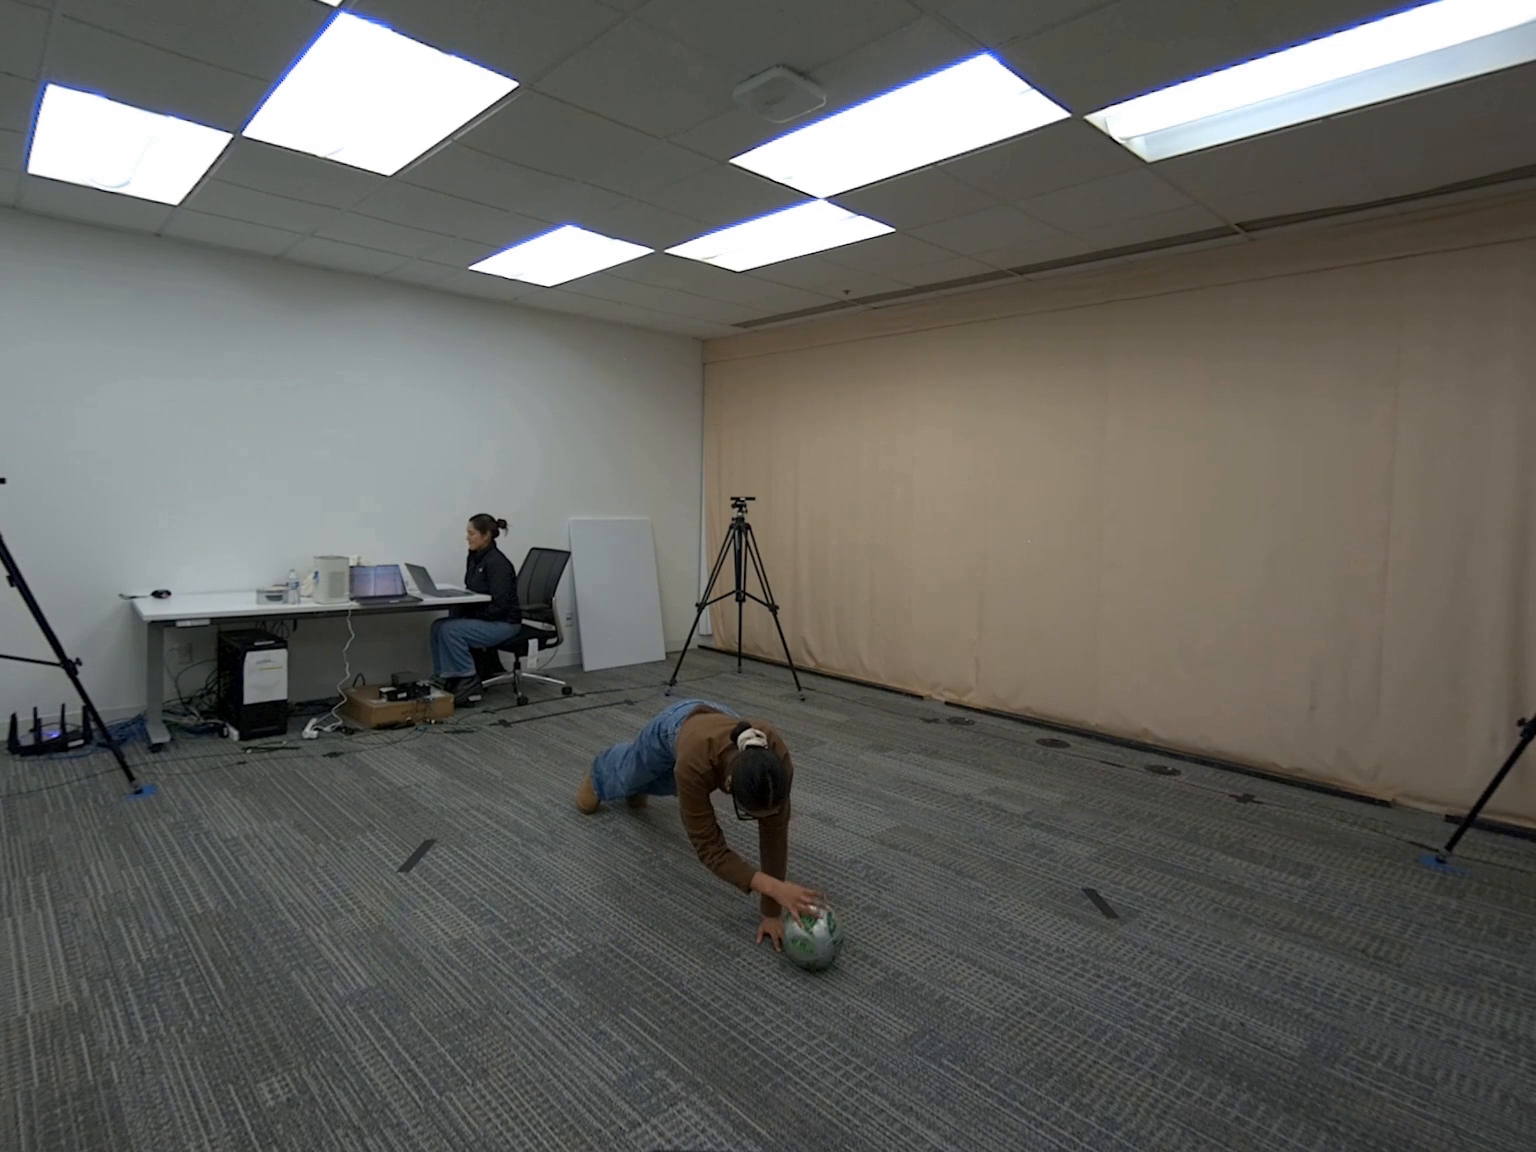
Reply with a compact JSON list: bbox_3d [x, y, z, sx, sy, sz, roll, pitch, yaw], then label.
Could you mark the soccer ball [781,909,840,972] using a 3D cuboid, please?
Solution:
[{"bbox_3d":[0.129,1.077,2.519,0.187,0.187,0.188,1,4,-1],"label":"soccer ball"}]
